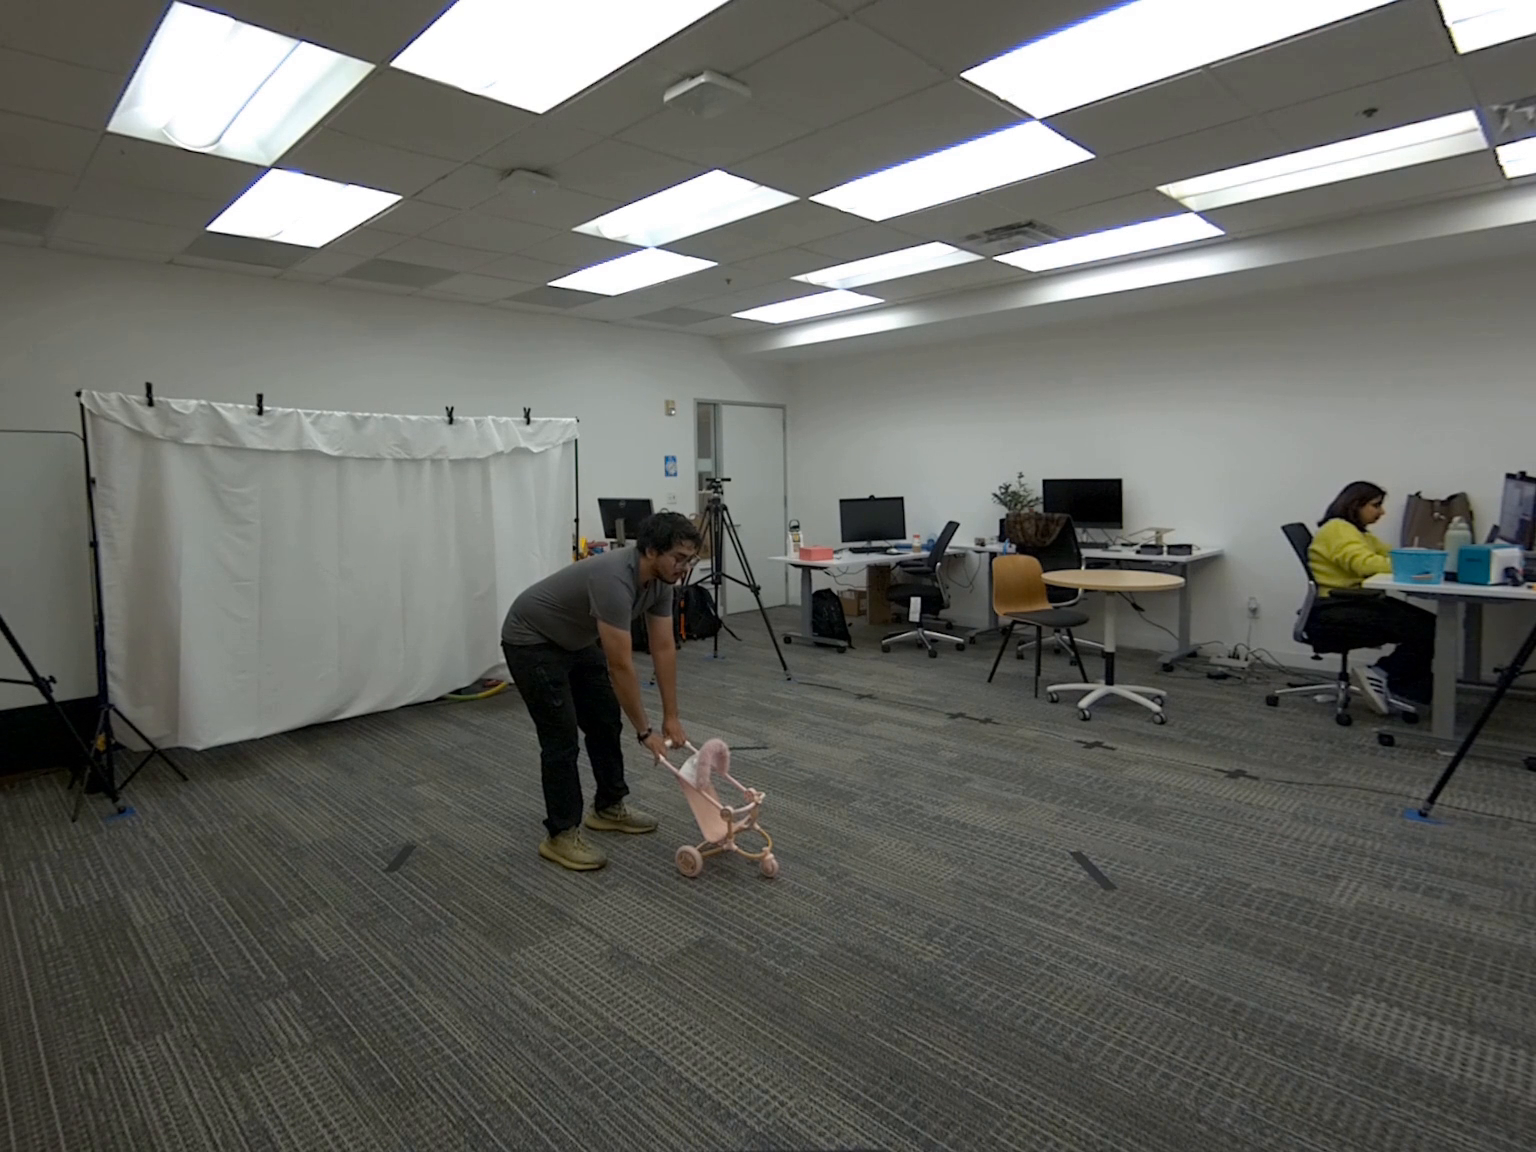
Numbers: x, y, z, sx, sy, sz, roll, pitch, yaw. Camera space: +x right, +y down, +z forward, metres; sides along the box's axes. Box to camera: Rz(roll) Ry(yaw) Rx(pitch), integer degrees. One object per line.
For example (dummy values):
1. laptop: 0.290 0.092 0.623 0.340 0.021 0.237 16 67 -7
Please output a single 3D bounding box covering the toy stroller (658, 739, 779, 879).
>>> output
1. toy stroller: -0.171 0.826 3.068 0.347 0.538 0.275 -19 -5 31
